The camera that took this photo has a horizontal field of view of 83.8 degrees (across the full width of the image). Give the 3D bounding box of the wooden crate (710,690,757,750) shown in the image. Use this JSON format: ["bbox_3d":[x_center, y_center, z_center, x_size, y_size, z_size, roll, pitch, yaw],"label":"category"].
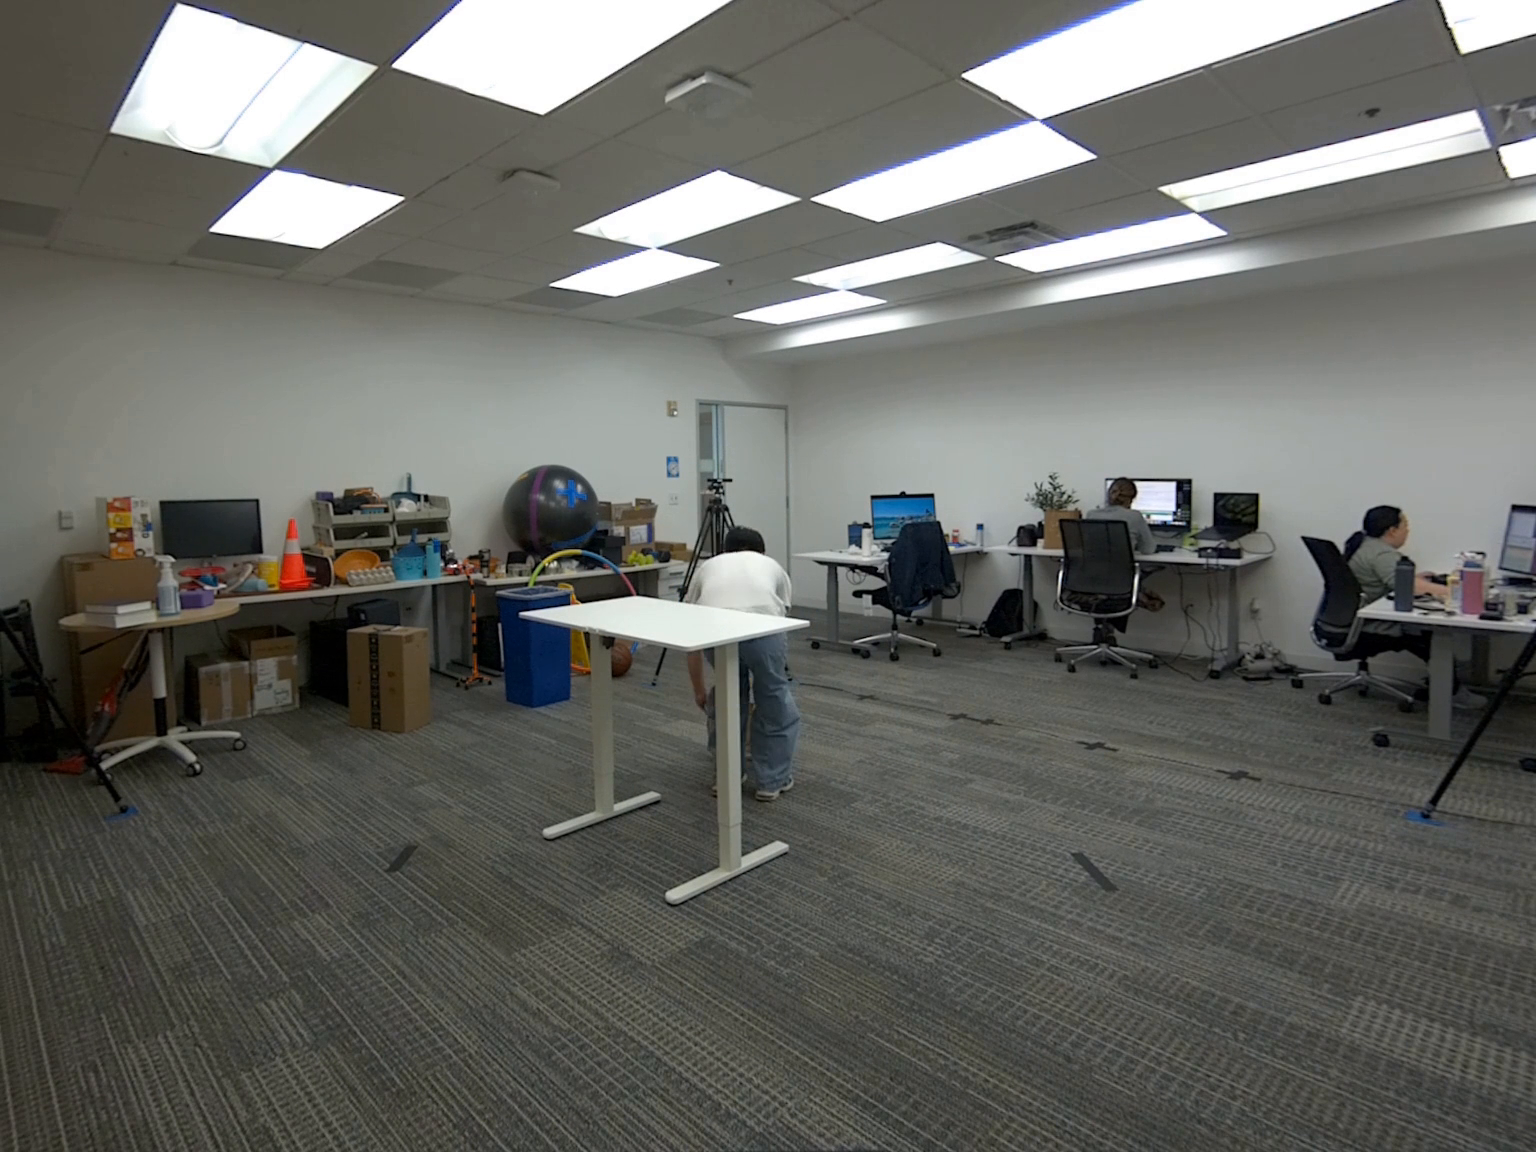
[{"bbox_3d":[-0.126,0.710,4.211,0.325,0.302,0.273,1,2,1],"label":"wooden crate"}]
